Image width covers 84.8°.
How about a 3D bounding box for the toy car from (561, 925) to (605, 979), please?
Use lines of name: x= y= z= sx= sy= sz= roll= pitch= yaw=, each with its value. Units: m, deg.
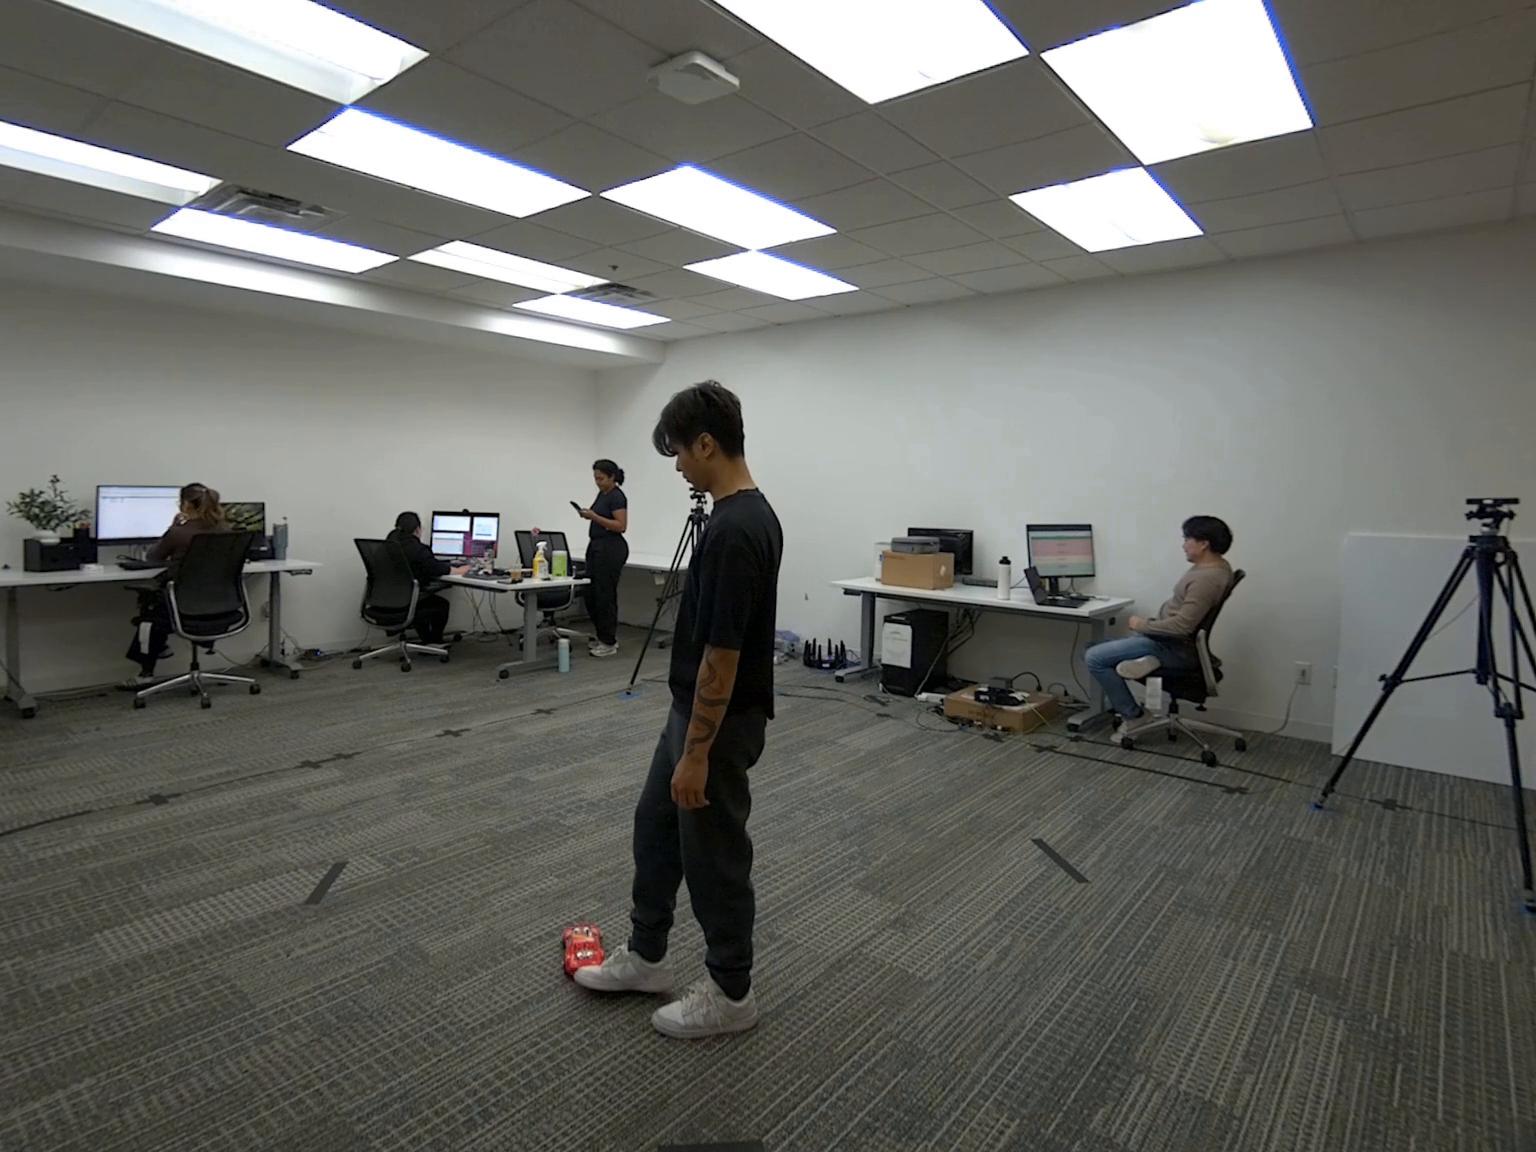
toy car: x=-0.548 y=1.093 z=2.476 sx=0.128 sy=0.084 sz=0.256 roll=-1 pitch=-6 yaw=-15
